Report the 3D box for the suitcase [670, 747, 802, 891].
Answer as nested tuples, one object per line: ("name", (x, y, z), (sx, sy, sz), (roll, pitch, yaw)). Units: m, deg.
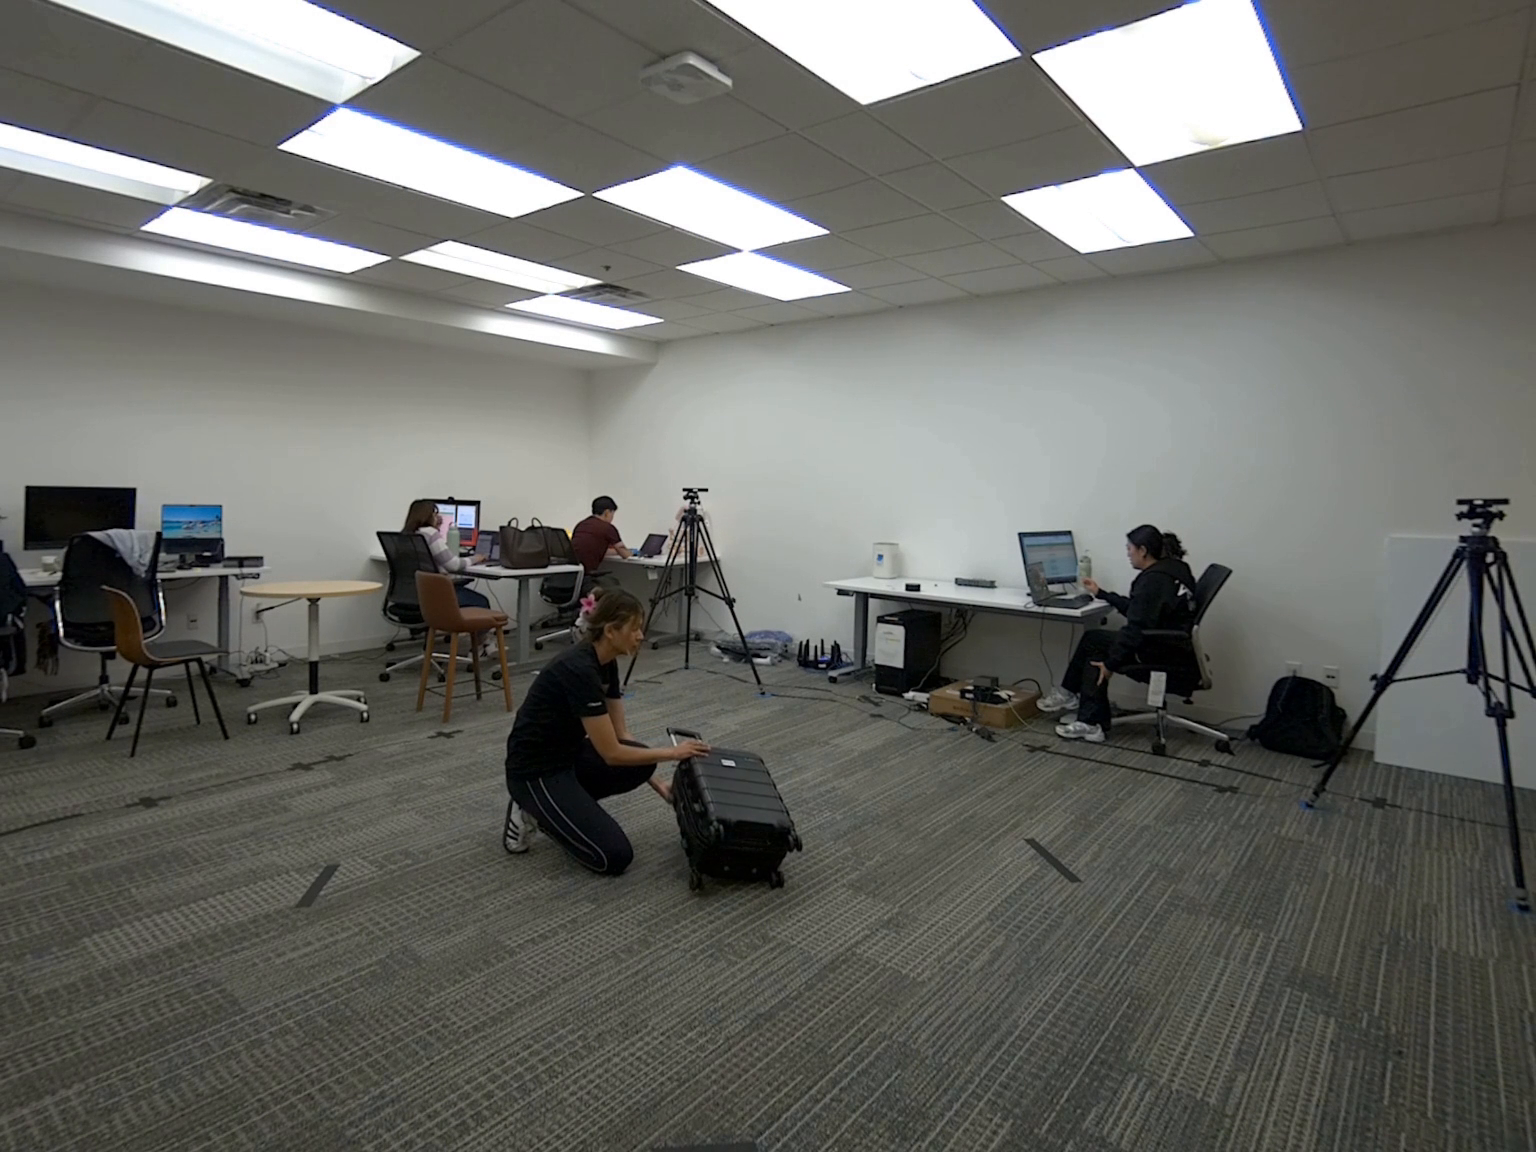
("suitcase", (-0.202, 0.790, 3.333), (0.375, 0.254, 1.011), (12, 19, -20))
